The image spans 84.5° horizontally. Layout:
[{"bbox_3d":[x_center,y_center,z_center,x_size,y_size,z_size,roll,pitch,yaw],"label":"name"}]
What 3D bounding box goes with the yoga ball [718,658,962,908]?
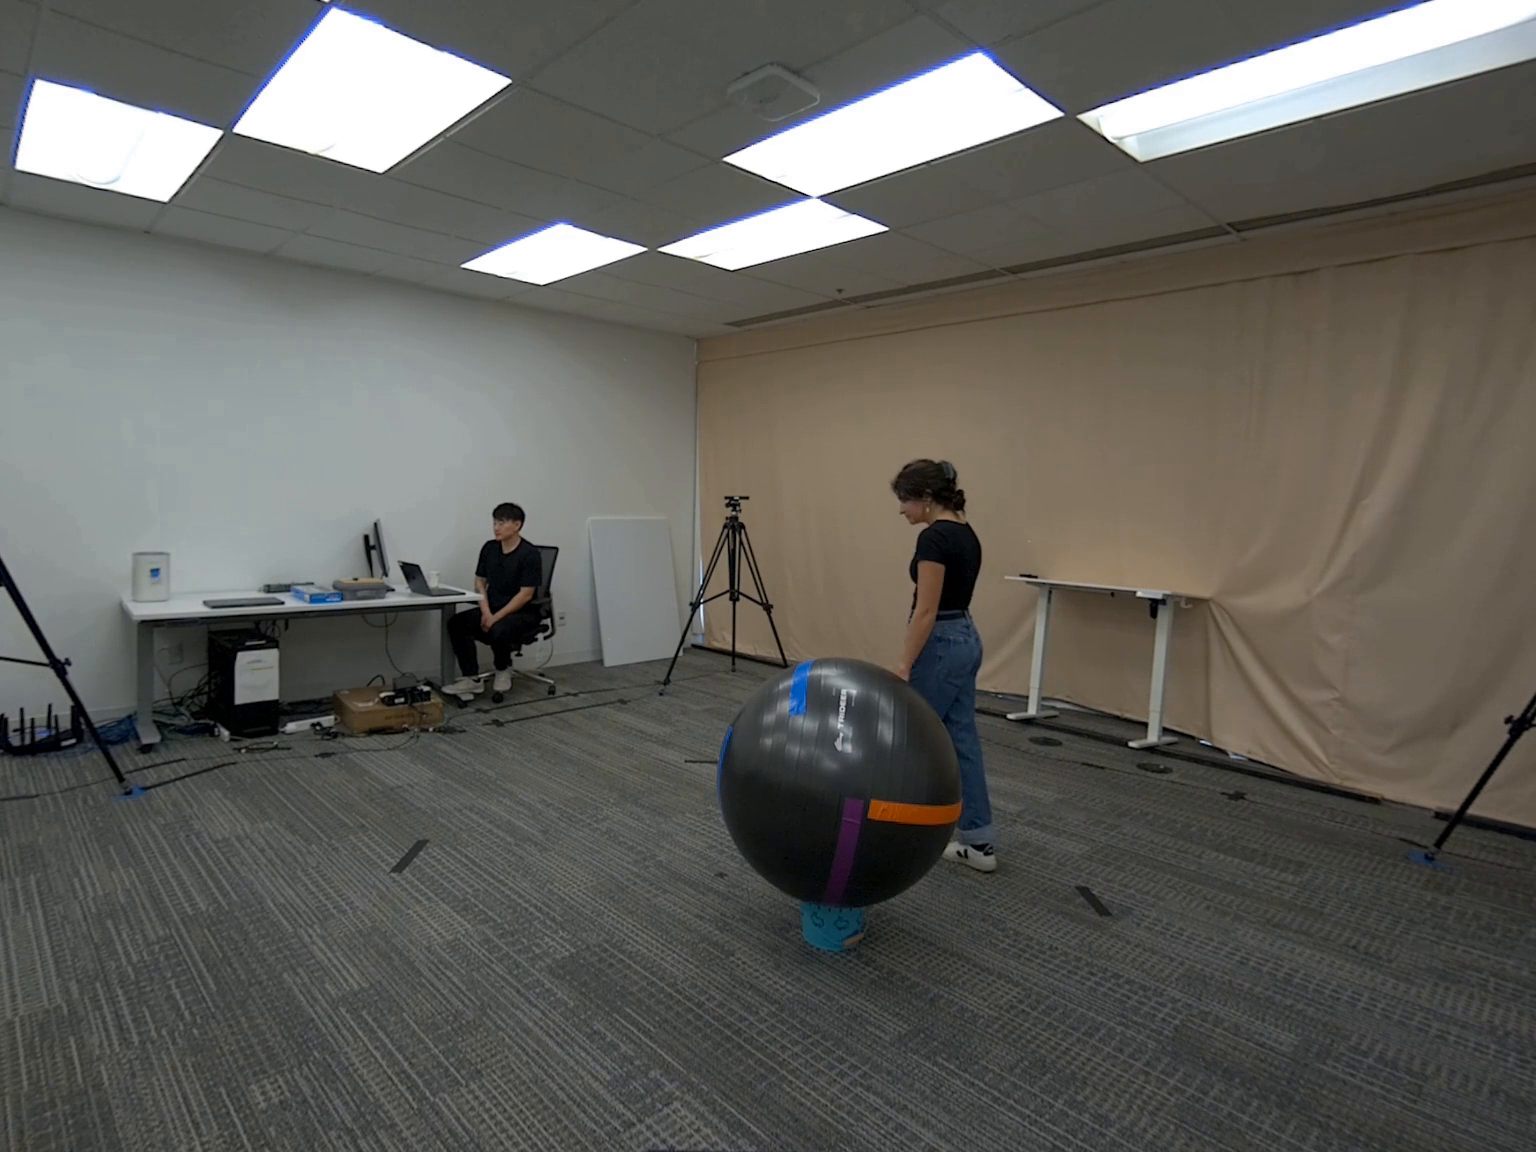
[{"bbox_3d":[0.213,0.642,2.659,0.757,0.756,0.761,1,4,-1],"label":"yoga ball"}]
